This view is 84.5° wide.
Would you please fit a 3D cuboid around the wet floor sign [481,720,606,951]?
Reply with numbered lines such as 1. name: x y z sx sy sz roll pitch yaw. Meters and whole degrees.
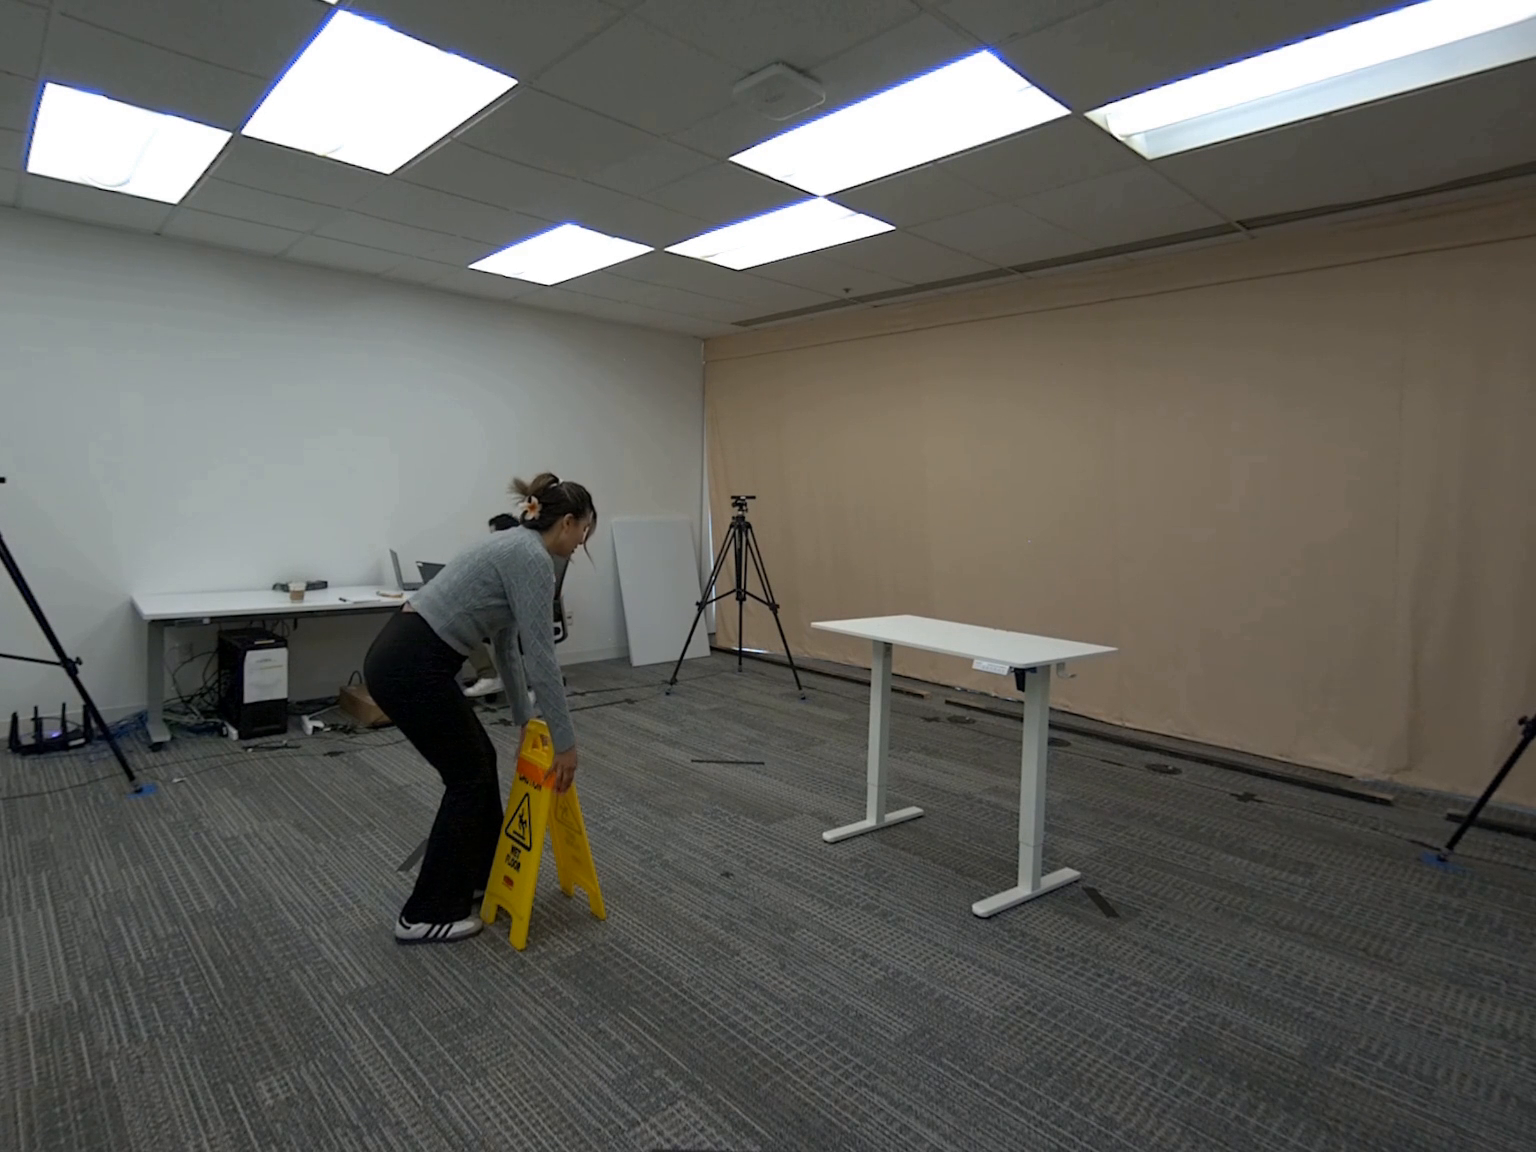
1. wet floor sign: -0.732 0.804 2.737 0.283 0.644 0.289 -3 5 -42
